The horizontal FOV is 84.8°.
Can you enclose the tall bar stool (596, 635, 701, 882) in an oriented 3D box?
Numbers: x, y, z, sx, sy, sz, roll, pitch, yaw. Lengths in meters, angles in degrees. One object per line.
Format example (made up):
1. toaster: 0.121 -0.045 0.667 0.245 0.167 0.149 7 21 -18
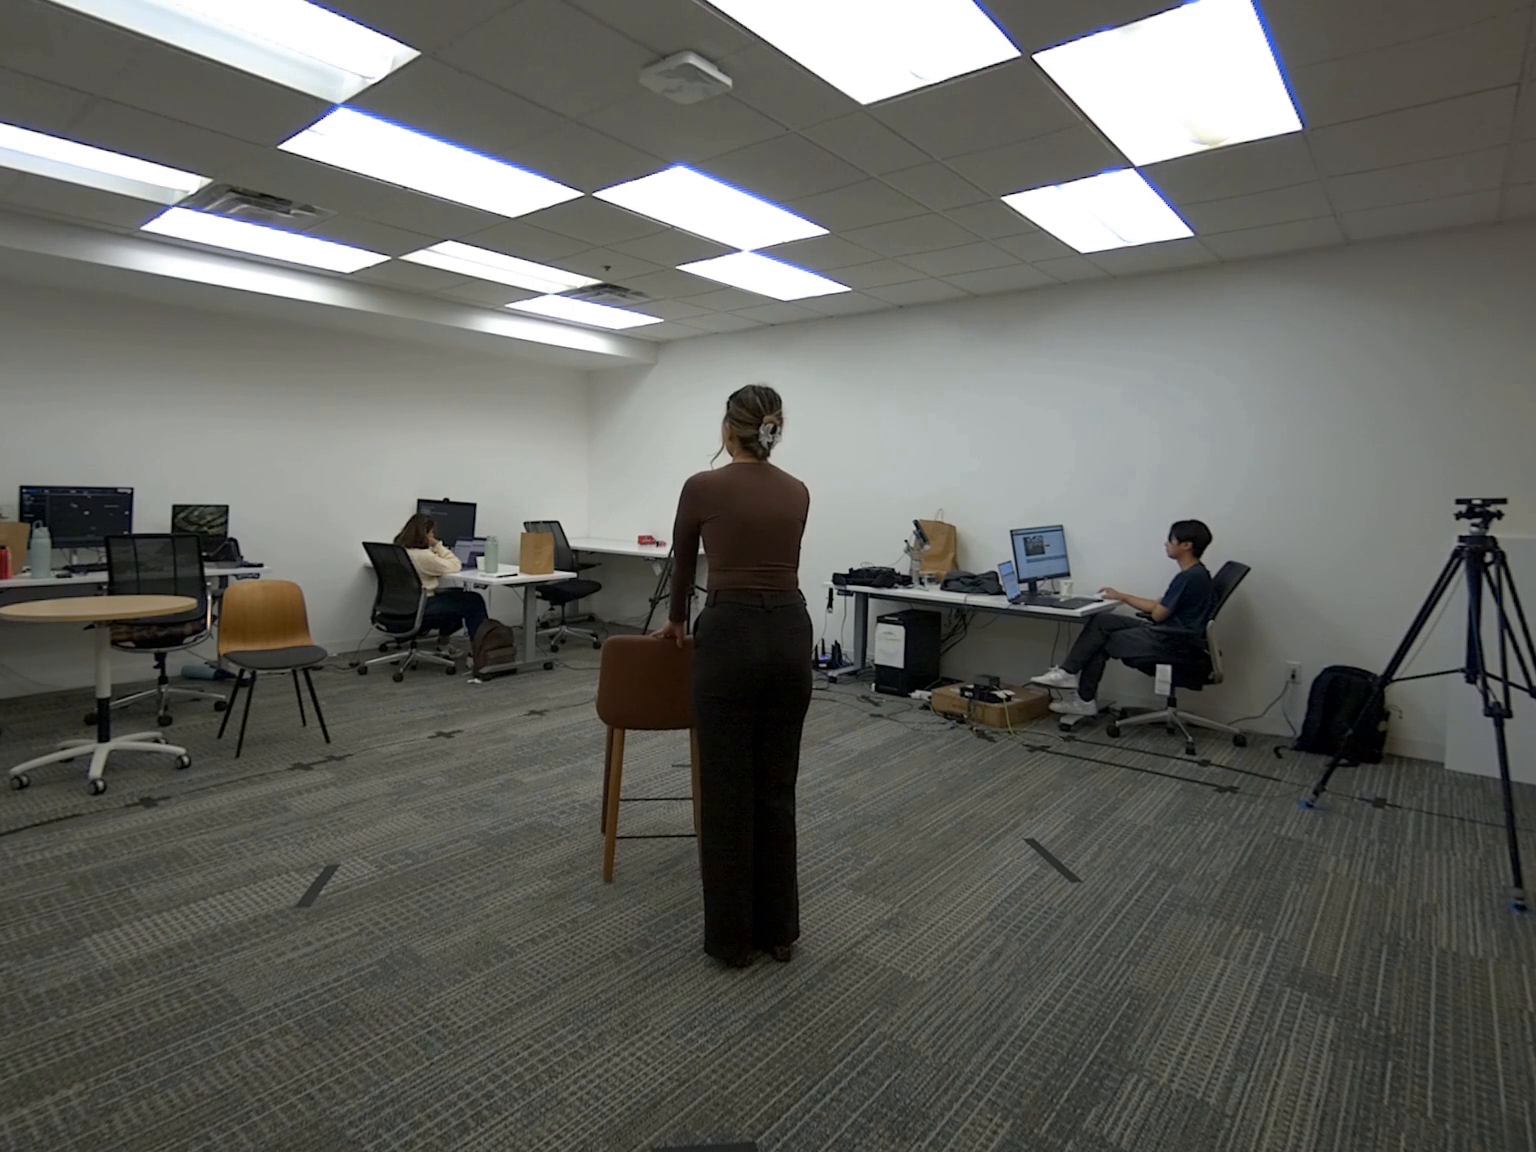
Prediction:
1. tall bar stool: -0.433 0.622 3.204 0.453 0.886 0.474 0 5 -9
